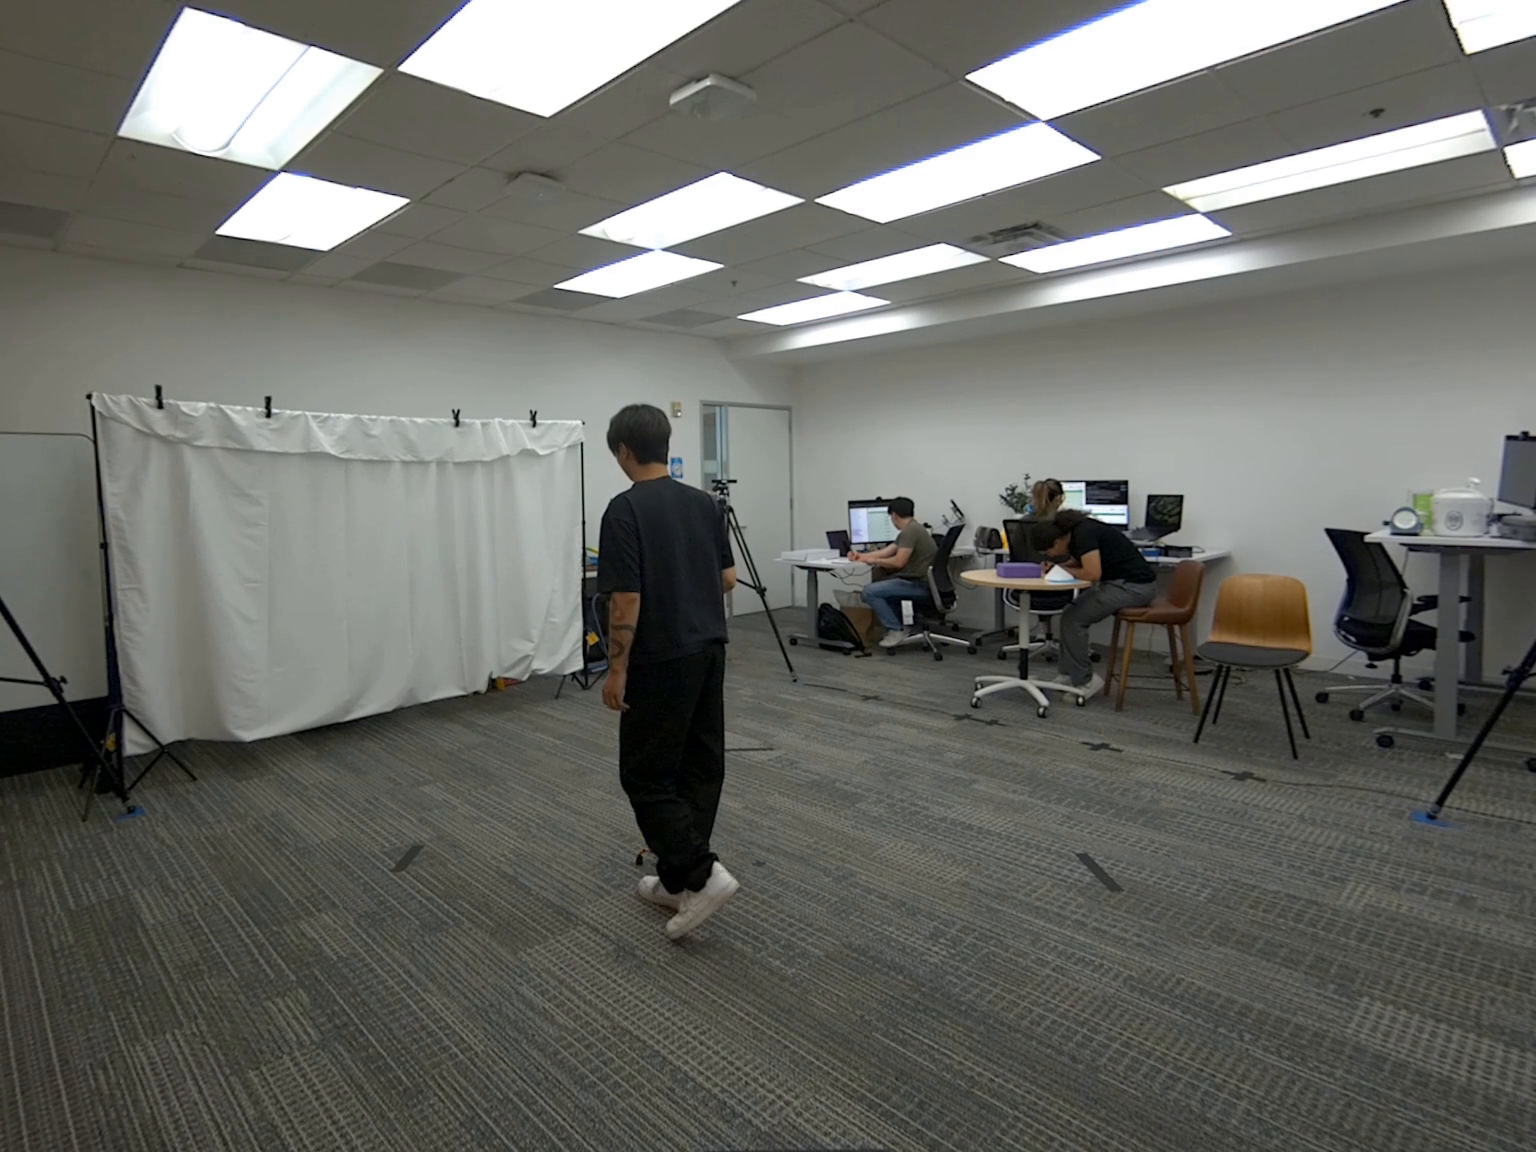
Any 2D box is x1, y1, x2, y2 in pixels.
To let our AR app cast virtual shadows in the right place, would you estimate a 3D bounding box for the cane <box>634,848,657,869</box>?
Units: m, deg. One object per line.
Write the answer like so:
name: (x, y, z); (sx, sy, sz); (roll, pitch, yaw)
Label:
cane: (-0.369, 0.603, 3.098); (0.212, 0.905, 0.148); (1, 4, 34)
